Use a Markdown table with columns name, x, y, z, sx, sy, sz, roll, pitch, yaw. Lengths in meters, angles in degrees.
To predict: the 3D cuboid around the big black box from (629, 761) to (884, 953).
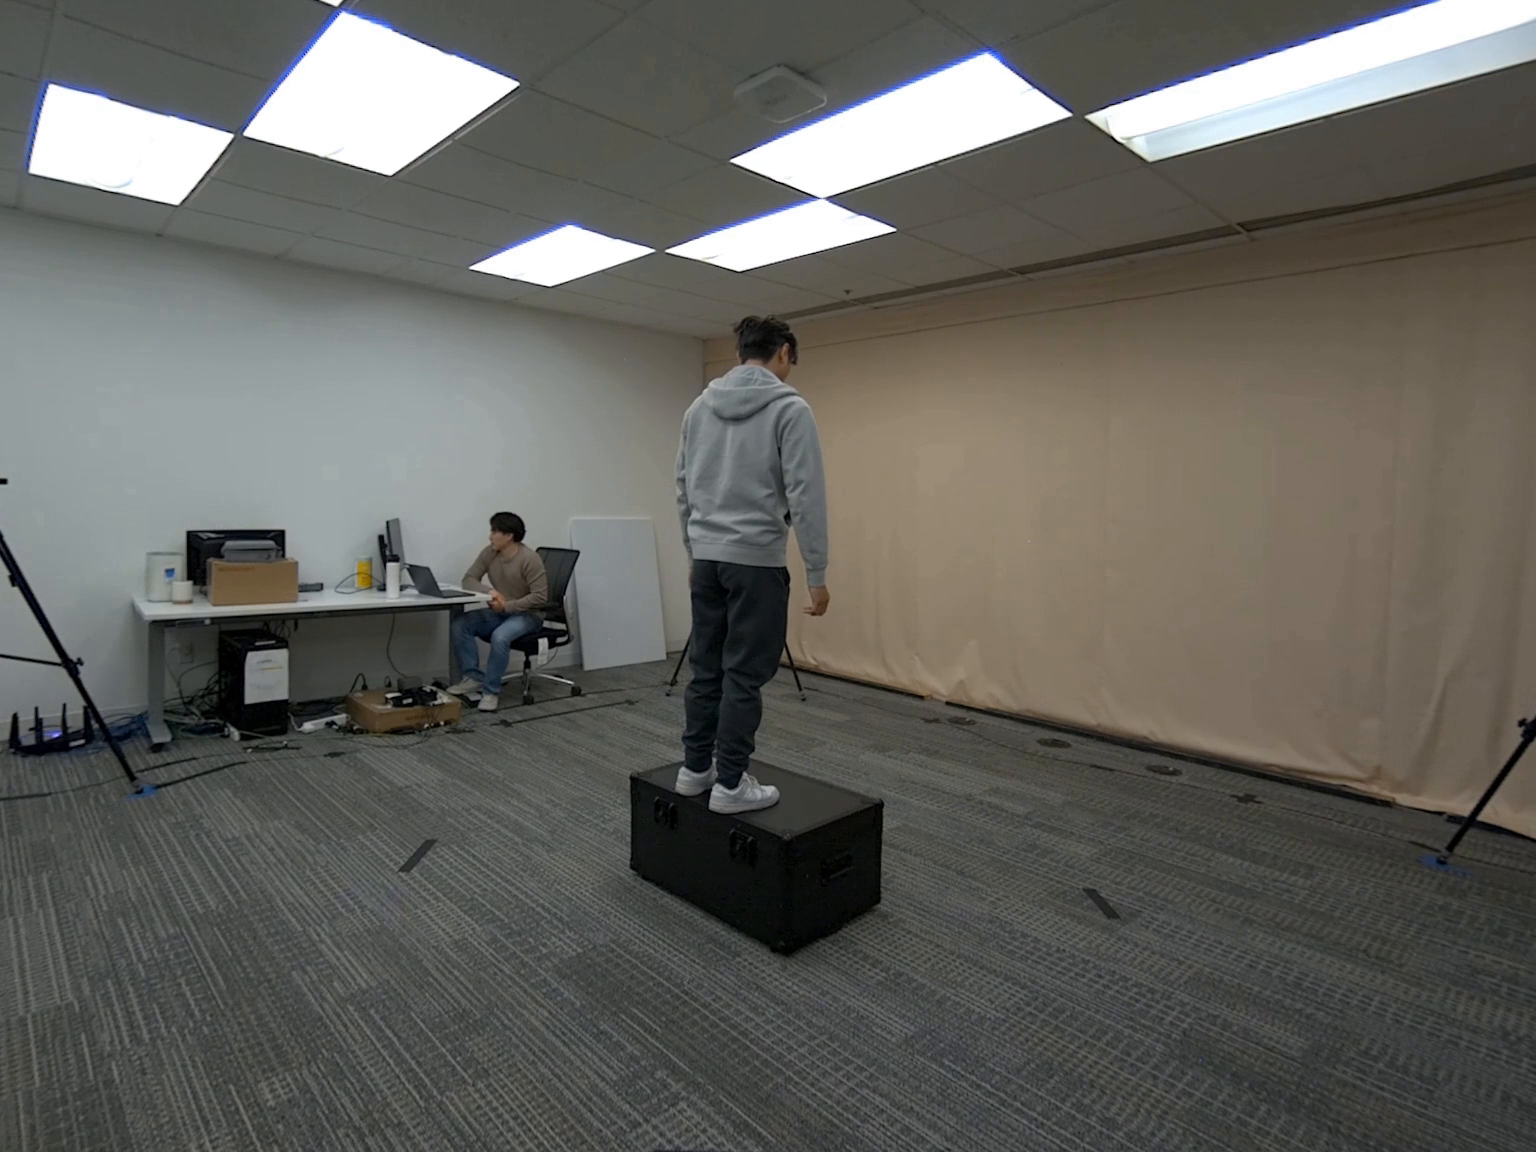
| name | x | y | z | sx | sy | sz | roll | pitch | yaw |
| --- | --- | --- | --- | --- | --- | --- | --- | --- | --- |
| big black box | -0.087 | 0.928 | 2.997 | 0.884 | 0.395 | 0.509 | 7 | 7 | 44 |
